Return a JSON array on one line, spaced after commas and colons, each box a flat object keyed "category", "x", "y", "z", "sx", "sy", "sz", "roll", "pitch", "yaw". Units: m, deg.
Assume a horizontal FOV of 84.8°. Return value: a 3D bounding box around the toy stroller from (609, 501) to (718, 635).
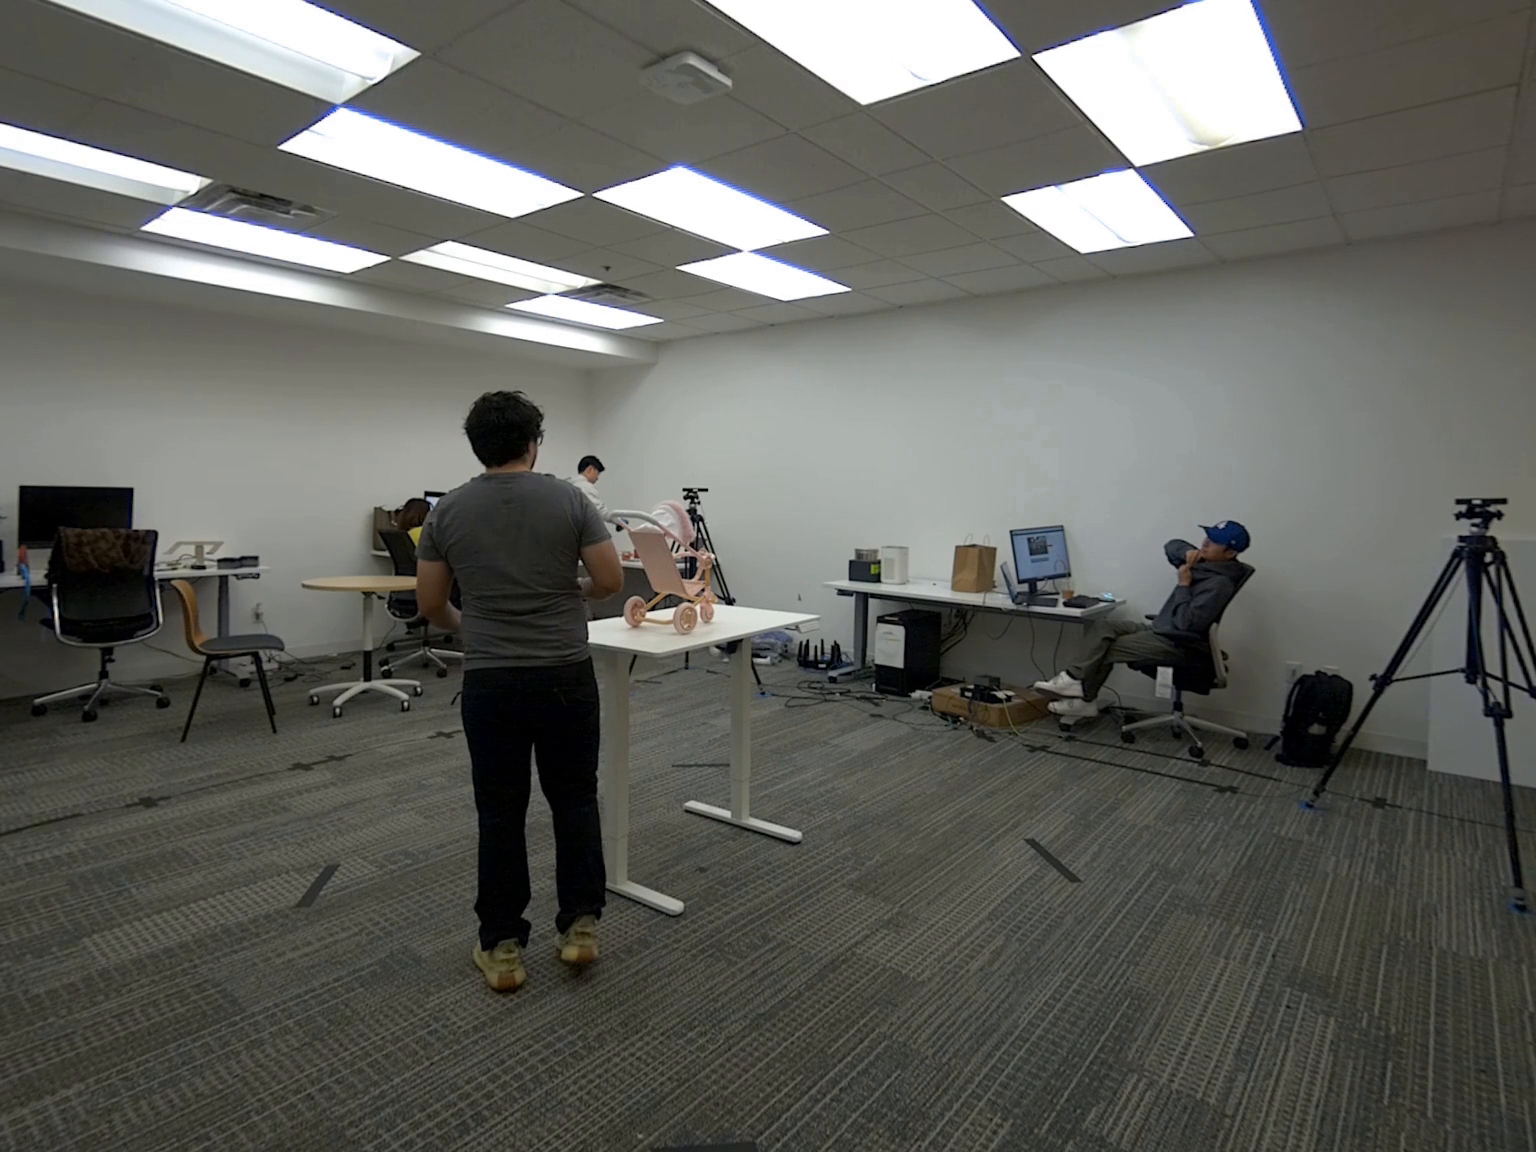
[{"category": "toy stroller", "x": -0.355, "y": -0.033, "z": 3.070, "sx": 0.291, "sy": 0.526, "sz": 0.336, "roll": 3, "pitch": 20, "yaw": 43}]
